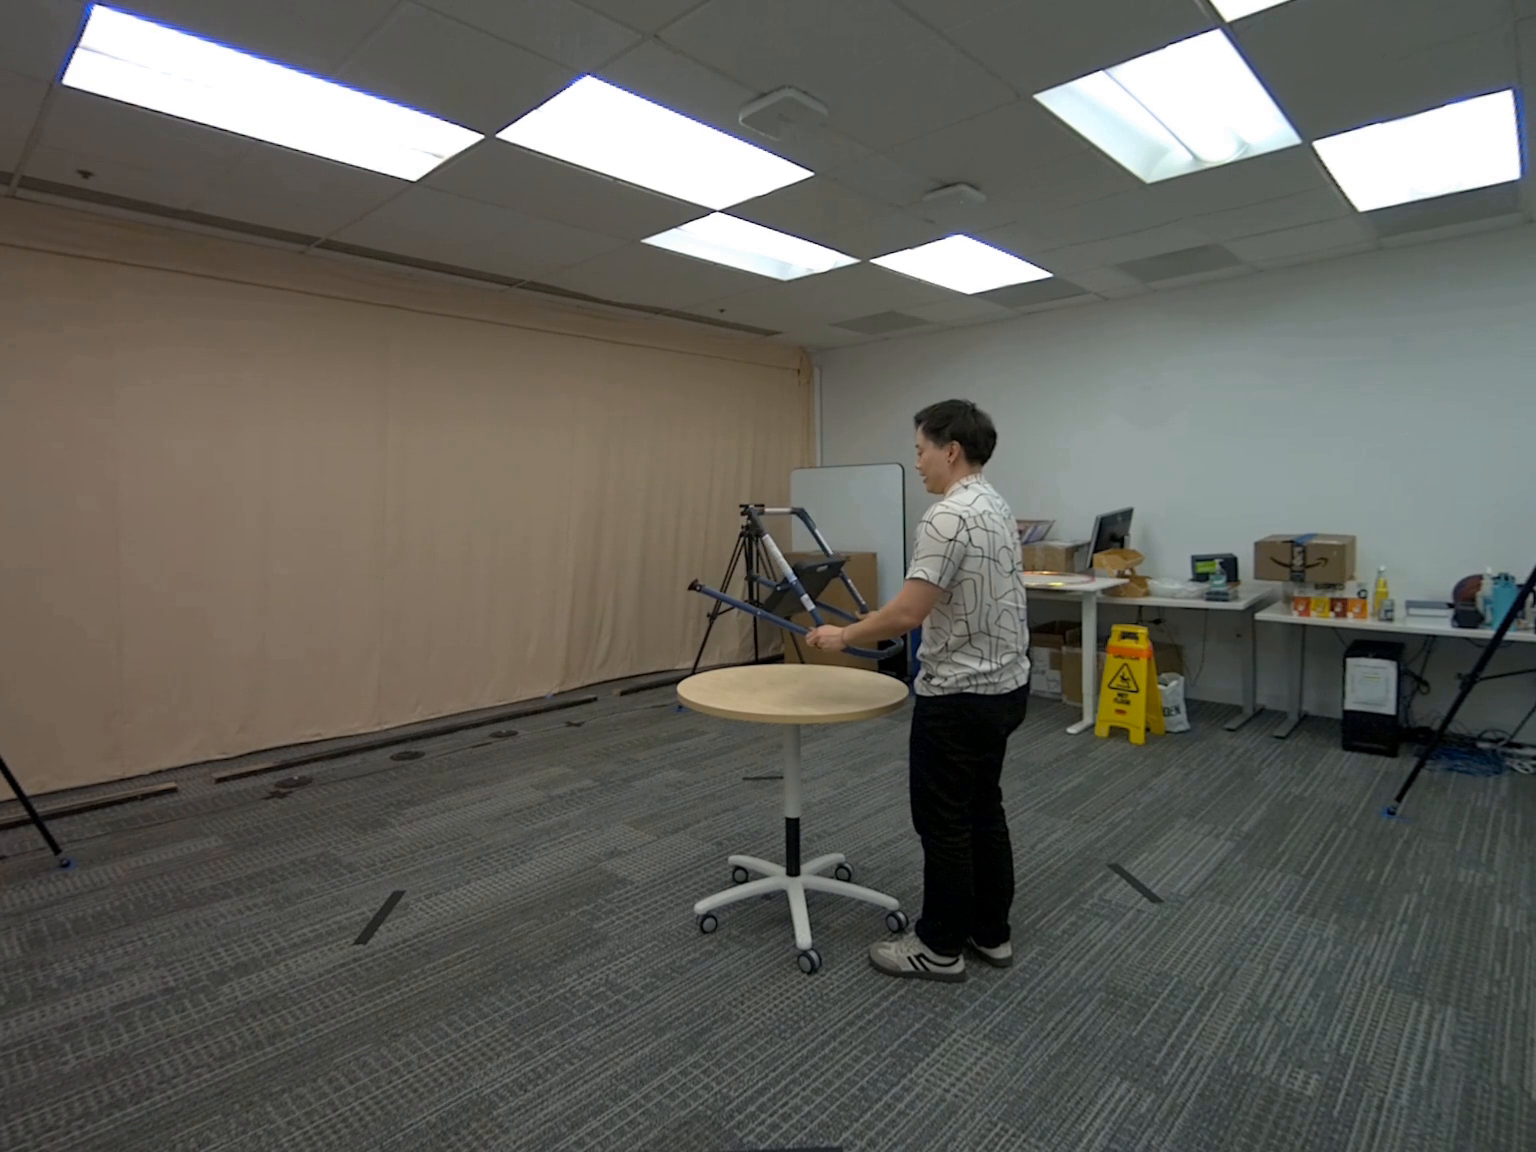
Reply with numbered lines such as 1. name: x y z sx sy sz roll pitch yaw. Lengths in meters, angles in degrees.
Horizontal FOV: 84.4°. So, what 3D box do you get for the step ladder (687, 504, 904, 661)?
1. step ladder: 0.146 0.093 2.744 0.621 0.350 0.419 43 22 20
